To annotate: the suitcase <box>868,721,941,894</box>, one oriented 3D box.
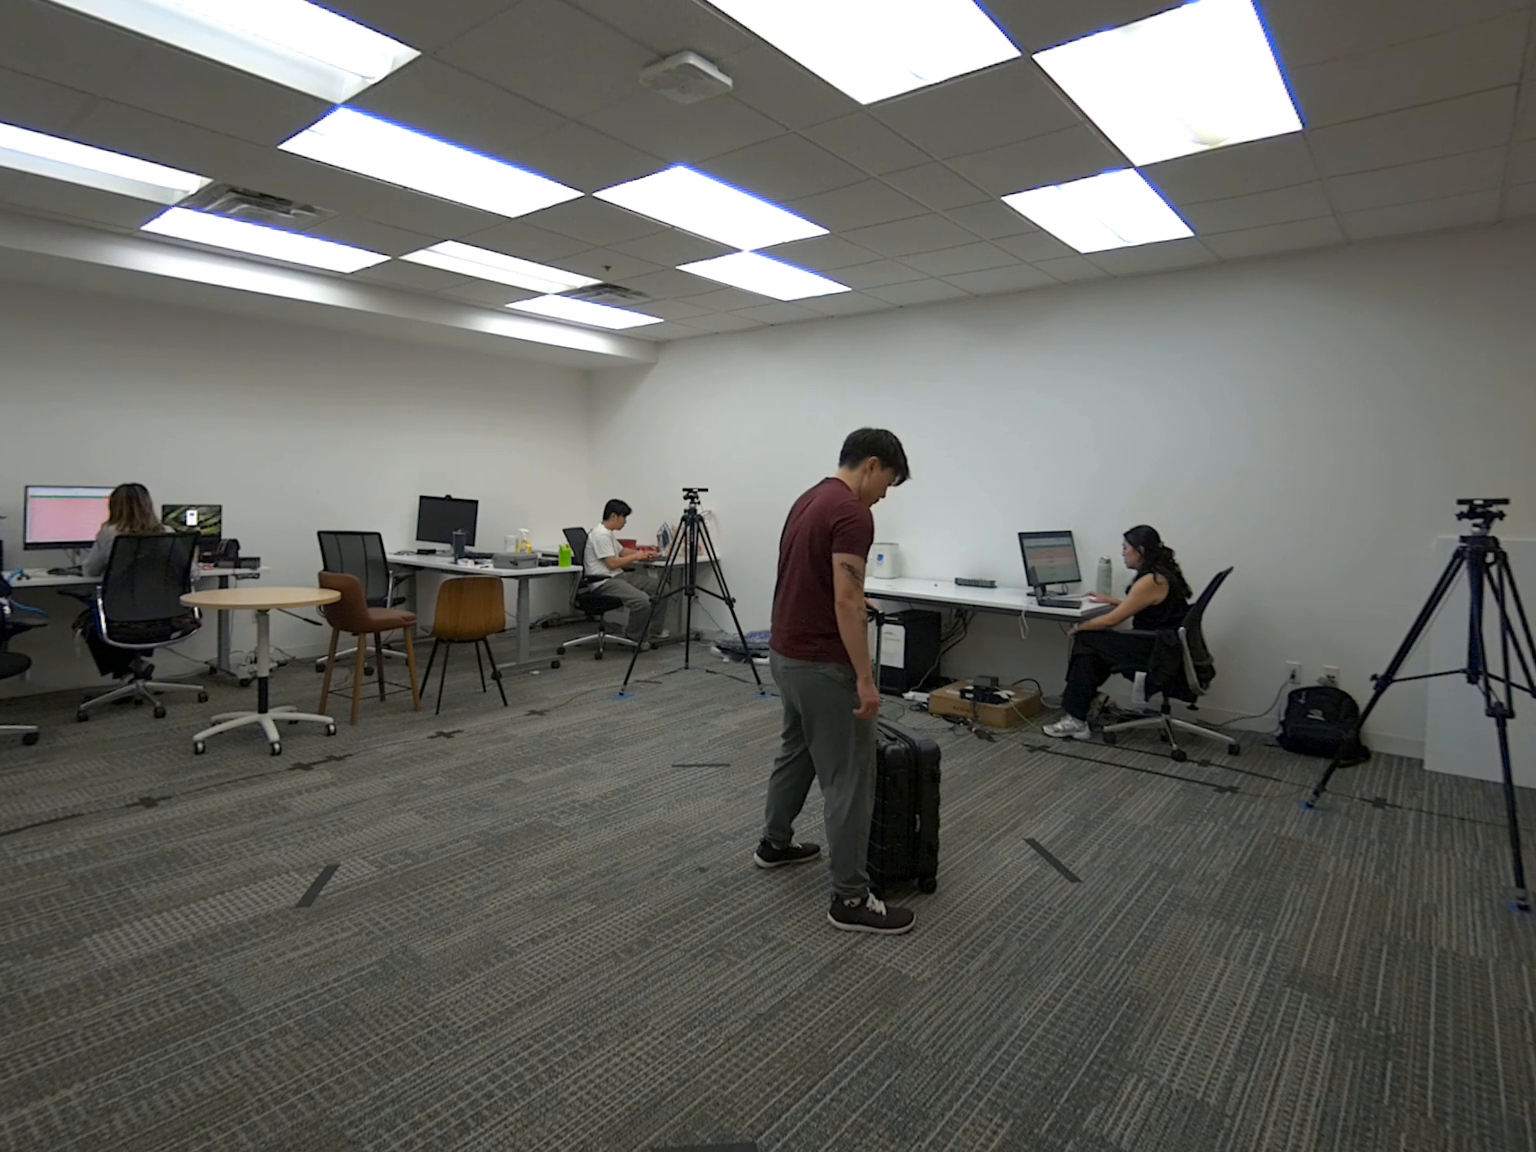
[{"bbox_3d":[0.446,0.614,3.068,0.252,0.976,0.392,3,3,-18],"label":"suitcase"}]
